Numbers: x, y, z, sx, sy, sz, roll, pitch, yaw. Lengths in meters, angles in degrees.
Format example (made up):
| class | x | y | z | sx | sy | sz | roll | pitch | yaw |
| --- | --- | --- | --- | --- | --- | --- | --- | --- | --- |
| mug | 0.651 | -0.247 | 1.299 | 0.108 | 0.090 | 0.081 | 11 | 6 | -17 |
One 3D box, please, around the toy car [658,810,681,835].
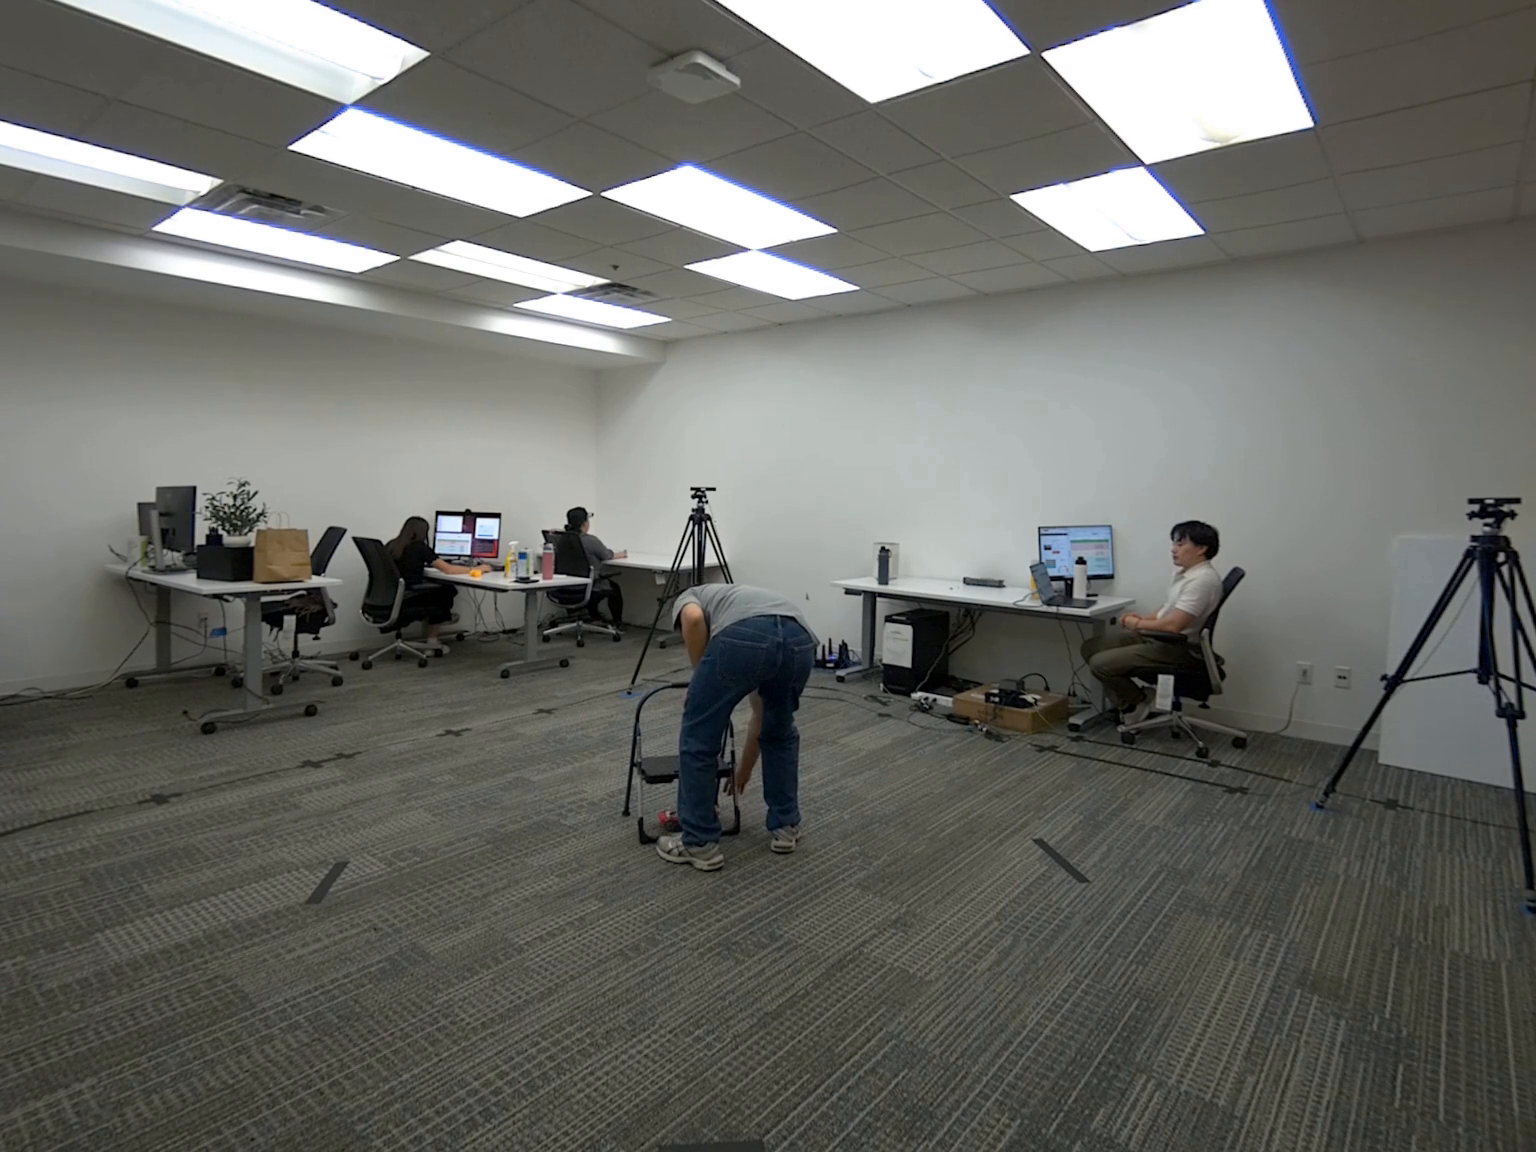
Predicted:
| class | x | y | z | sx | sy | sz | roll | pitch | yaw |
| --- | --- | --- | --- | --- | --- | --- | --- | --- | --- |
| toy car | -0.309 | 0.991 | 3.520 | 0.252 | 0.082 | 0.133 | -11 | 8 | -13 |
